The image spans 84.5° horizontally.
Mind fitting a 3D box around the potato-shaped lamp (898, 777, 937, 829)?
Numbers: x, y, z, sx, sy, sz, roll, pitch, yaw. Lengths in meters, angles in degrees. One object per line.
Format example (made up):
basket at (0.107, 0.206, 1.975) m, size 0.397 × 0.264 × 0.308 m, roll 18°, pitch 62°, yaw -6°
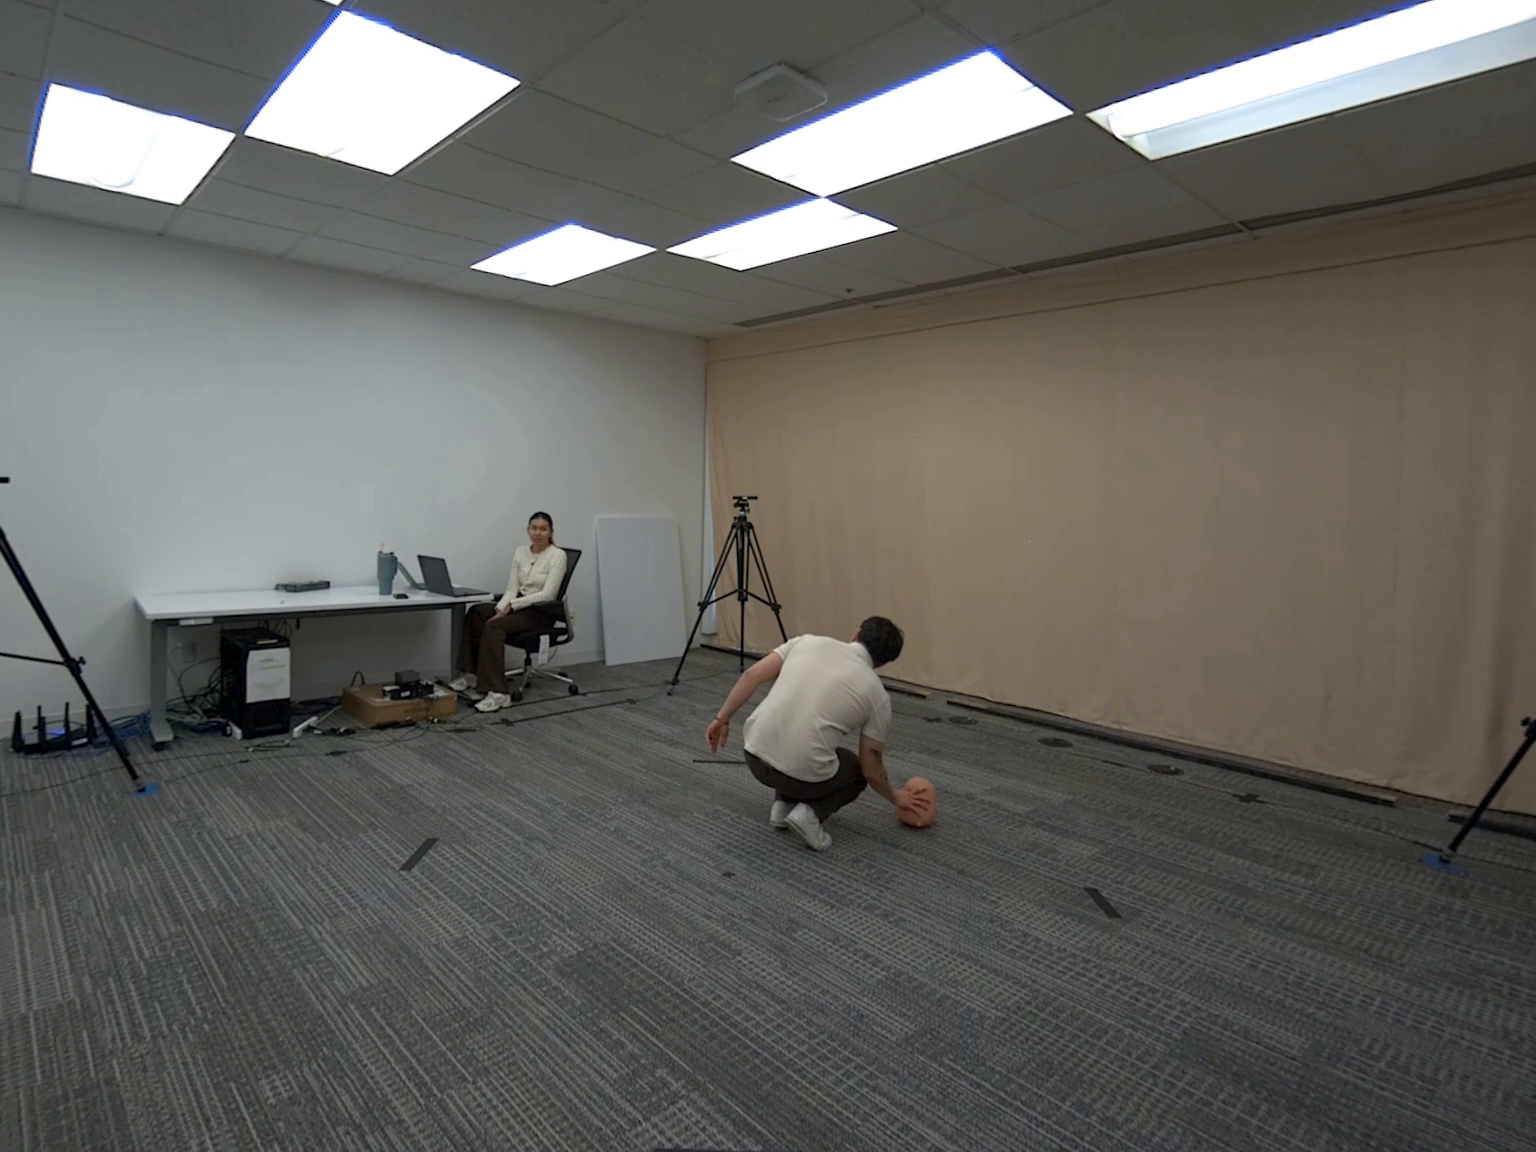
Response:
potato-shaped lamp at (0.640, 0.975, 3.663) m, size 0.169 × 0.199 × 0.166 m, roll 5°, pitch -6°, yaw 43°
